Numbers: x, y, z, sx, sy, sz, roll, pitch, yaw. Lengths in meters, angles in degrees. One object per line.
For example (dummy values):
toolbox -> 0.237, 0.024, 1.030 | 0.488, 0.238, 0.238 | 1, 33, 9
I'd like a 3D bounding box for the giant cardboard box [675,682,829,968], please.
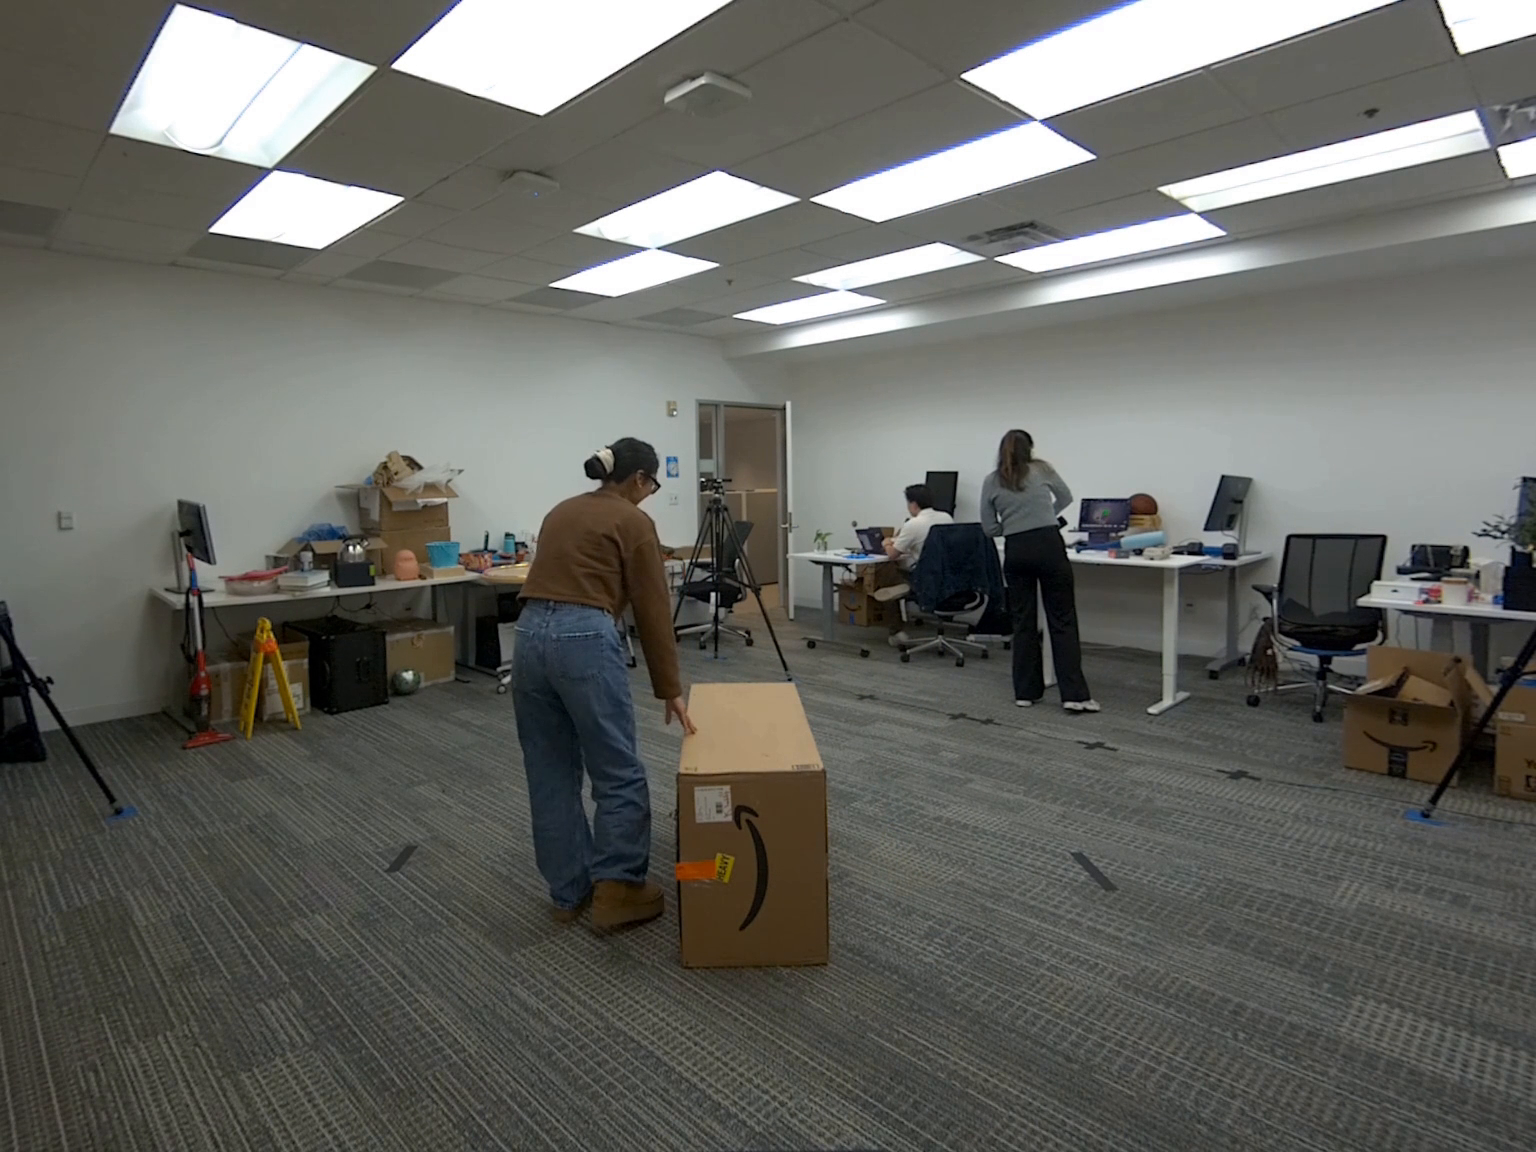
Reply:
giant cardboard box -> -0.068, 0.779, 2.939 | 0.446, 0.581, 1.032 | 0, 6, -2
